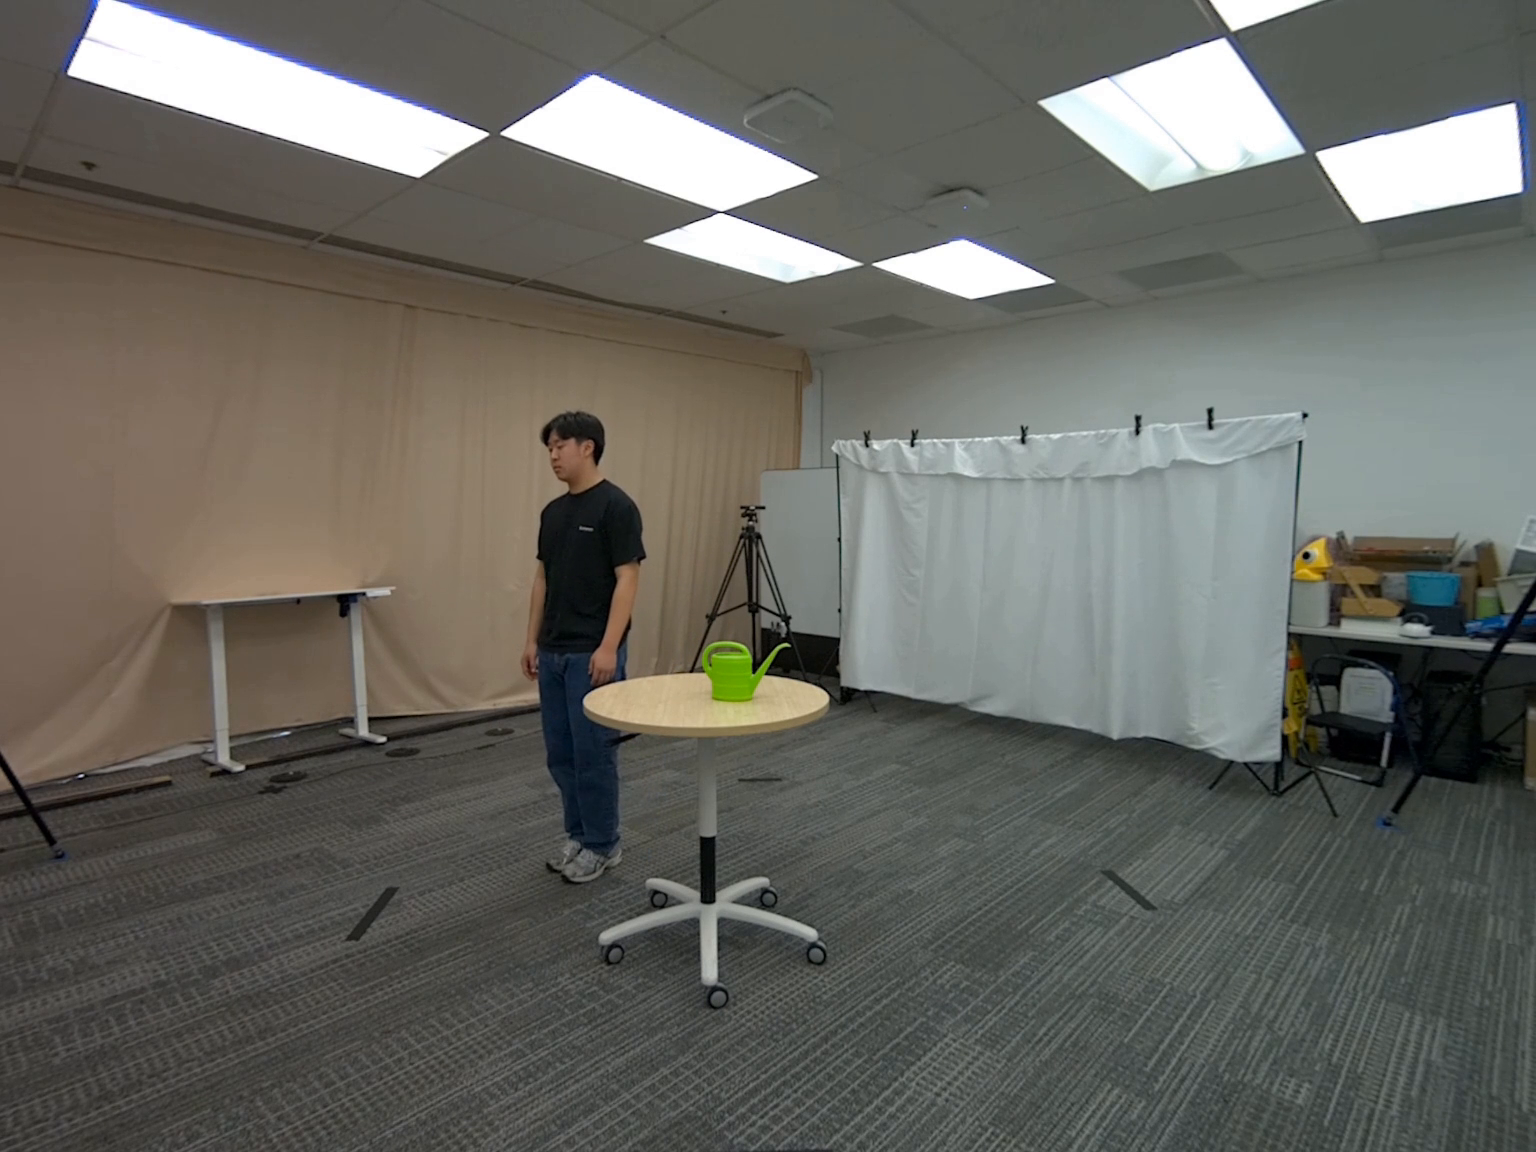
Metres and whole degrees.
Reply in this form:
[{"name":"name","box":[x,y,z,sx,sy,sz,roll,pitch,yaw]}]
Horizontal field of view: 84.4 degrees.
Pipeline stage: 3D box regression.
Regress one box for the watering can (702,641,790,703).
[{"name":"watering can","box":[-0.069,0.292,2.583,0.285,0.176,0.096,-2,3,27]}]
